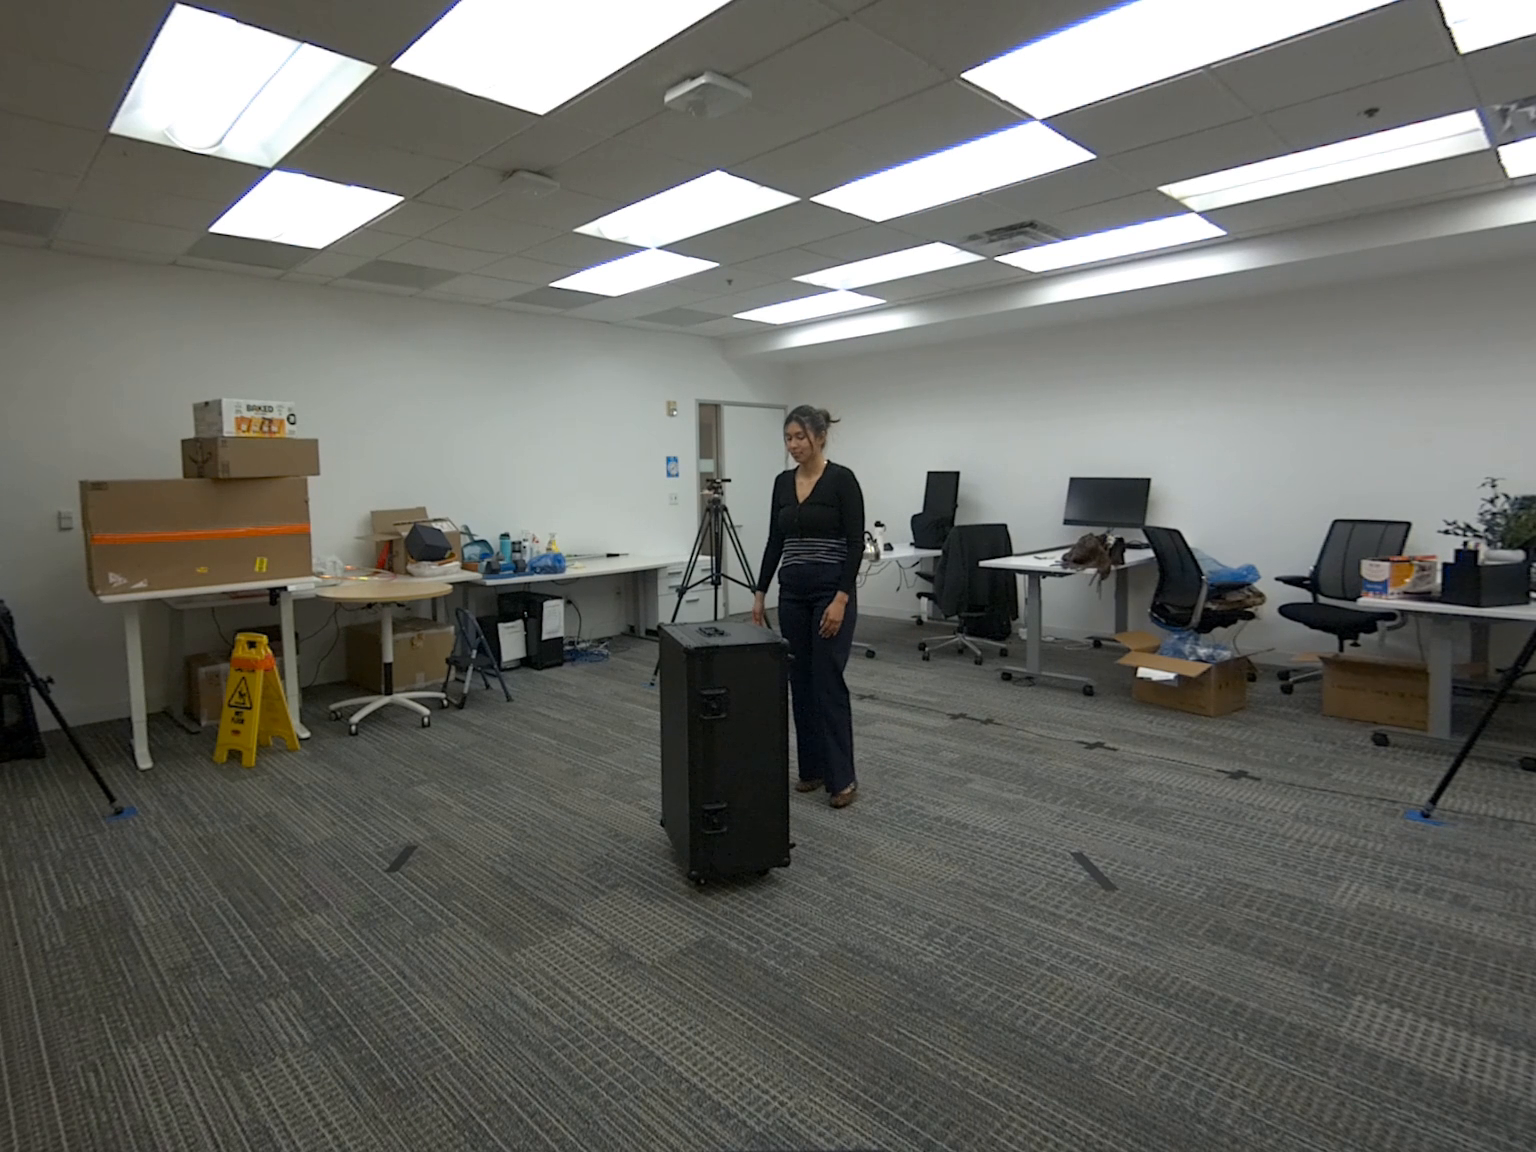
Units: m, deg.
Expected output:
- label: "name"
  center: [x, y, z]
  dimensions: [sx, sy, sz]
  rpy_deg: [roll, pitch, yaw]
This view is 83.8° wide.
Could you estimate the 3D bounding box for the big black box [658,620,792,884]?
- label: "big black box"
  center: [-0.161, 0.562, 3.080]
  dimensions: [0.390, 0.859, 0.531]
  rpy_deg: [-2, 4, -19]
